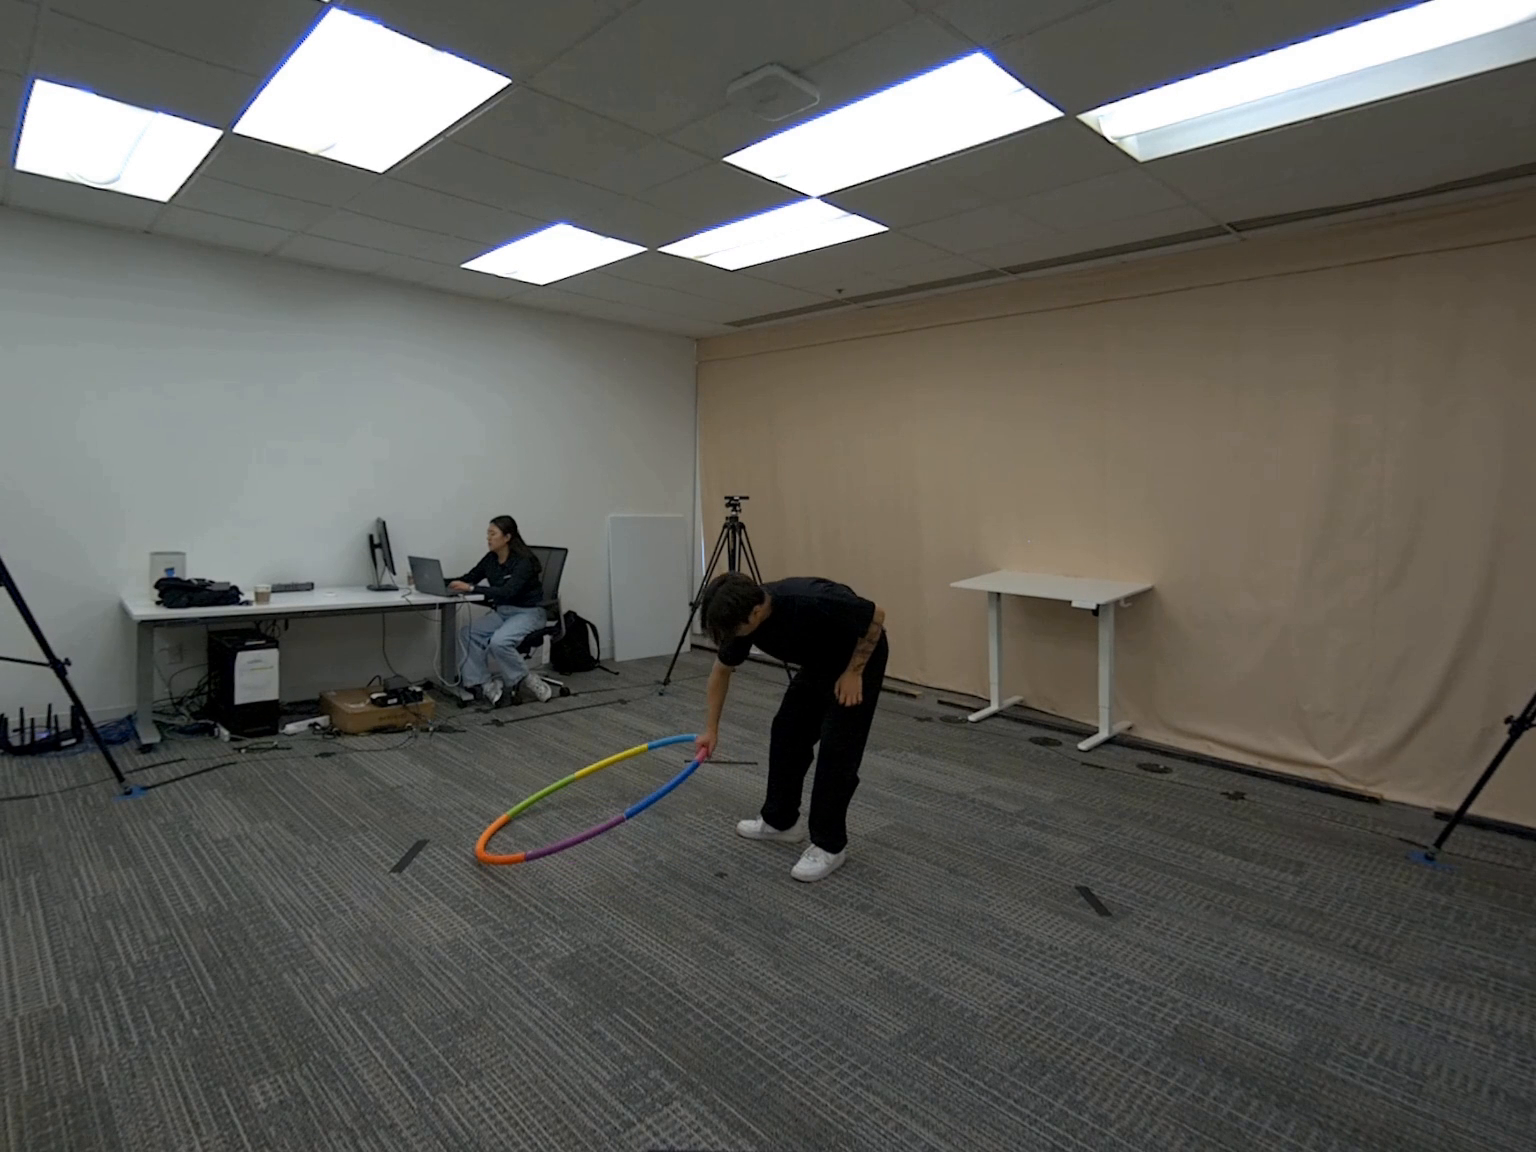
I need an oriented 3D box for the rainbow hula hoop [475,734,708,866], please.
[{"bbox_3d":[-0.703,0.864,3.348,0.979,0.035,0.982,-21,5,0],"label":"rainbow hula hoop"}]
